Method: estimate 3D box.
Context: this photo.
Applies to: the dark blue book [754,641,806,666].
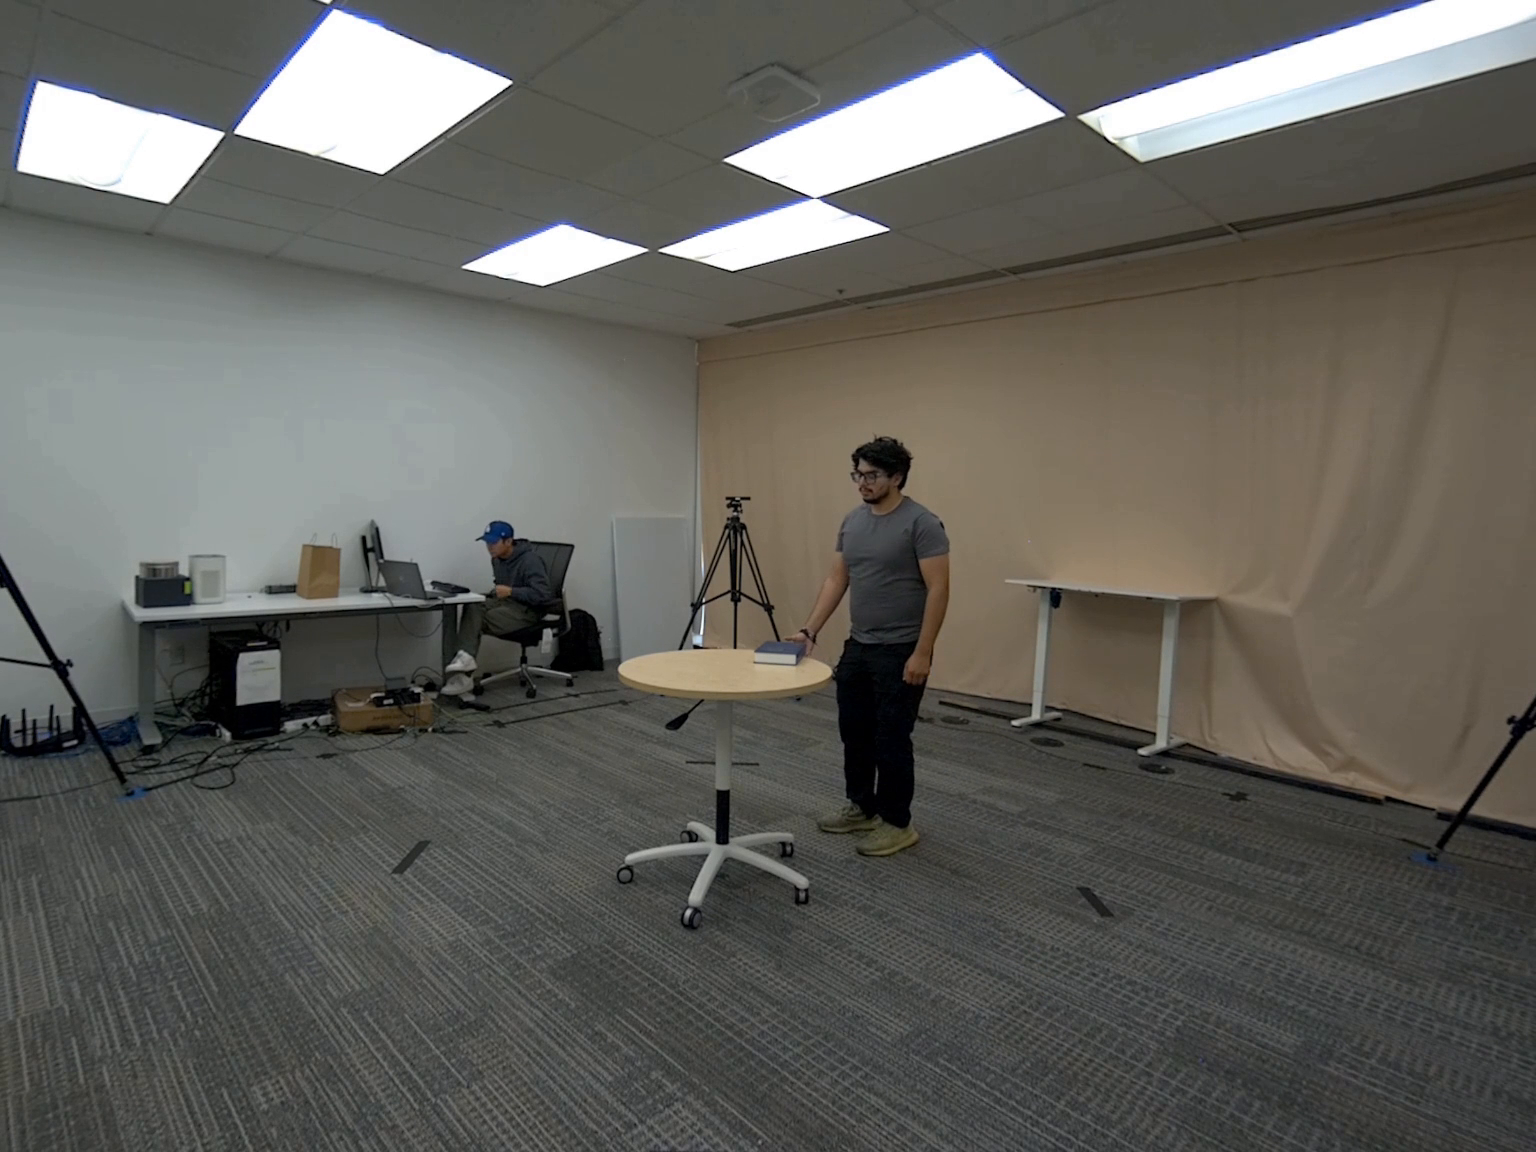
[{"bbox_3d":[0.043,0.292,3.221,0.165,0.045,0.243,2,5,12],"label":"dark blue book"}]
